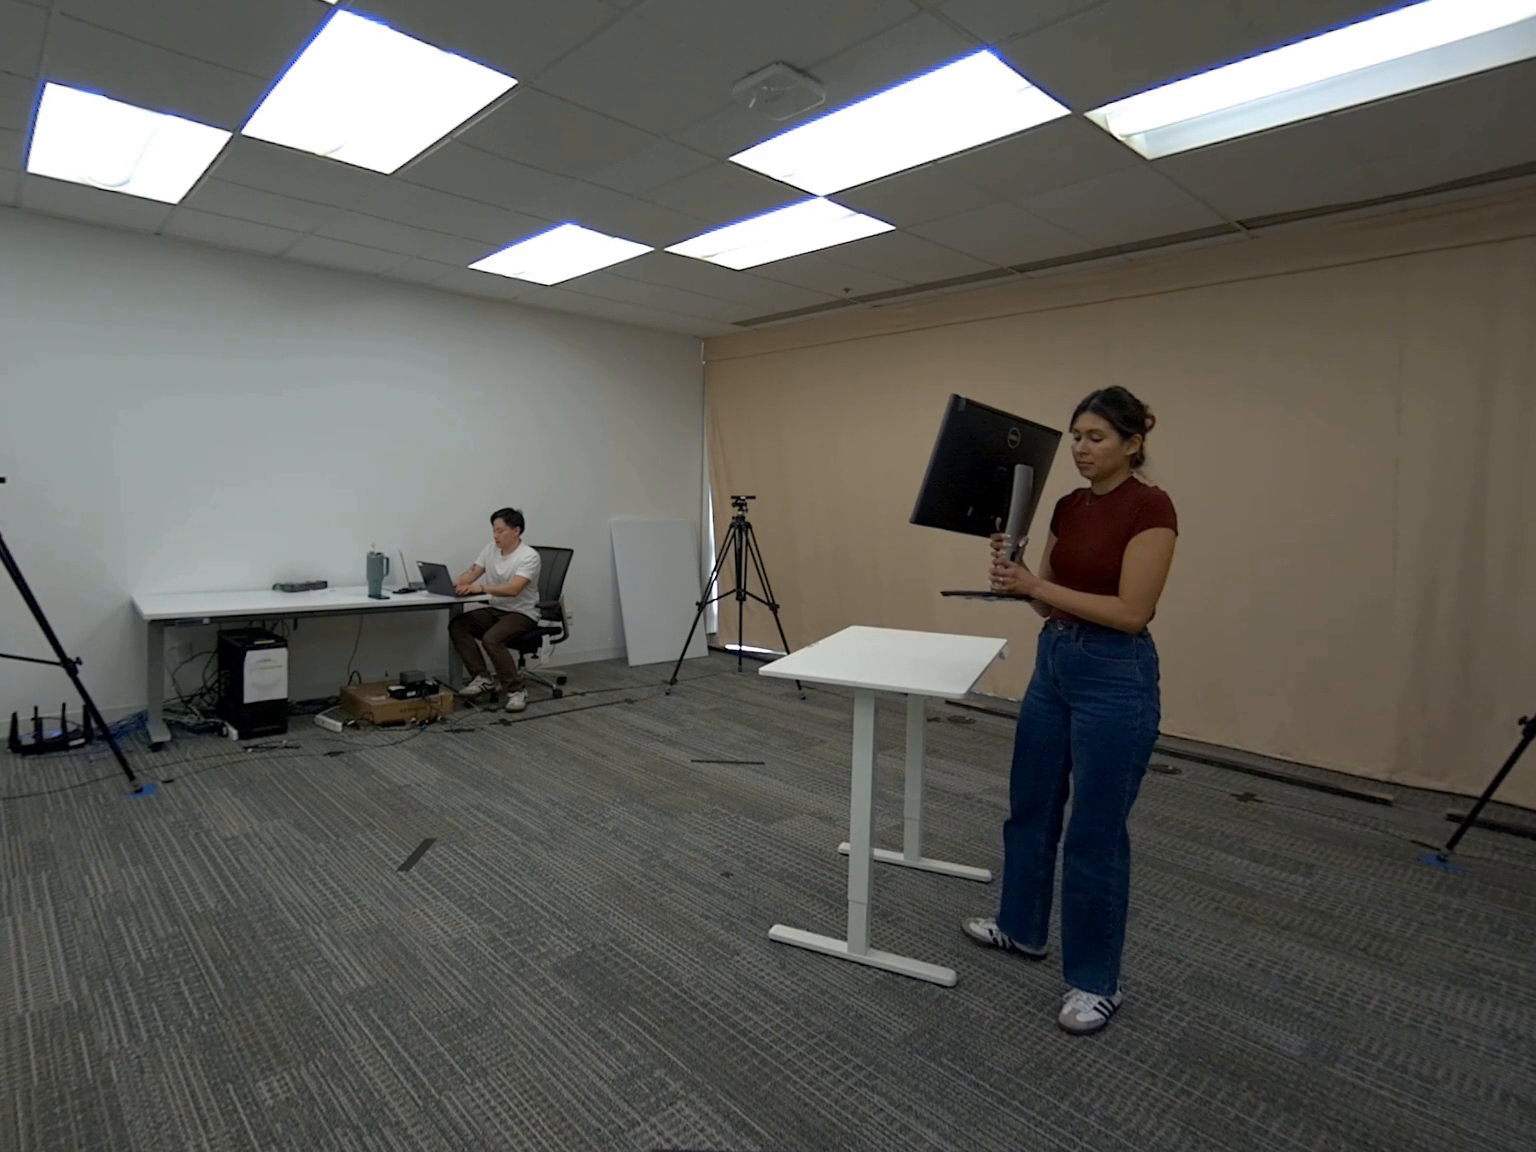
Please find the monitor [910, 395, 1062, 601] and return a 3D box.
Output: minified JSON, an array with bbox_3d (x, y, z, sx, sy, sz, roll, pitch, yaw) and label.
[{"bbox_3d":[0.626,-0.190,2.333,0.525,0.523,0.192,7,0,-42],"label":"monitor"}]
